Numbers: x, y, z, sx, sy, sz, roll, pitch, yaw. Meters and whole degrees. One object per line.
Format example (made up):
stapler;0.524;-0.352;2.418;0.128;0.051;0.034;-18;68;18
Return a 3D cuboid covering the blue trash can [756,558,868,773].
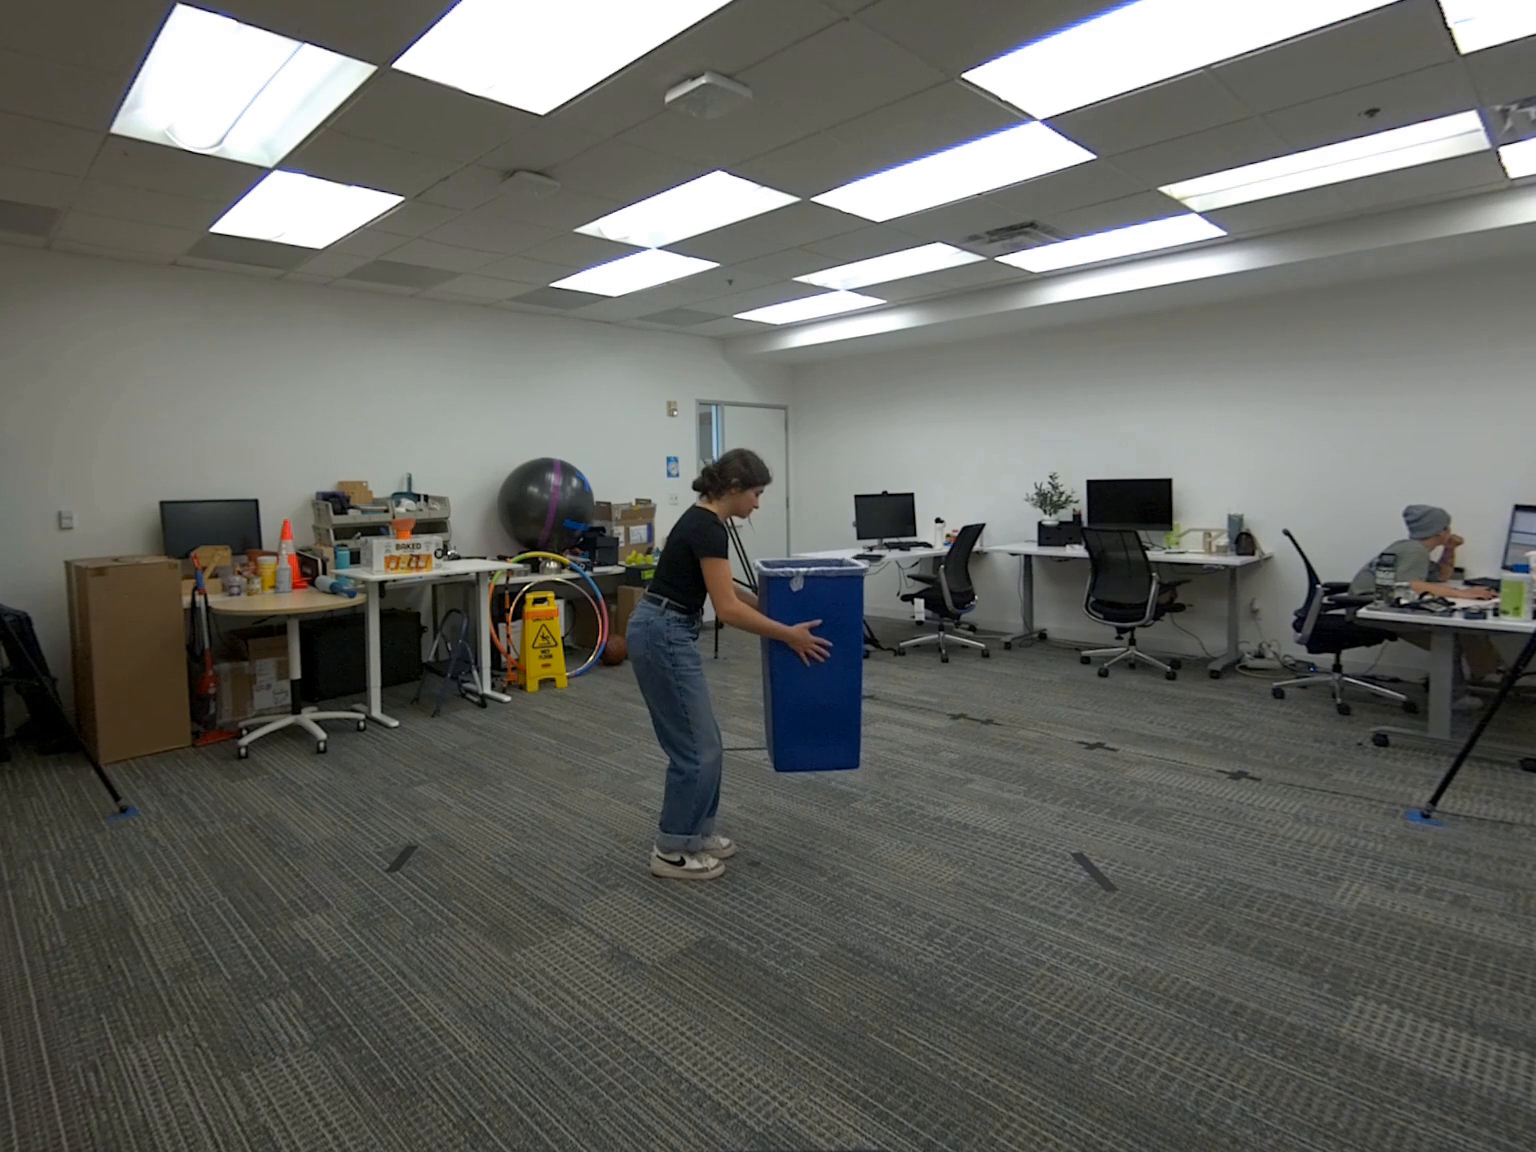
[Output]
blue trash can;0.149;0.314;3.099;0.377;0.710;0.377;-1;6;-4
